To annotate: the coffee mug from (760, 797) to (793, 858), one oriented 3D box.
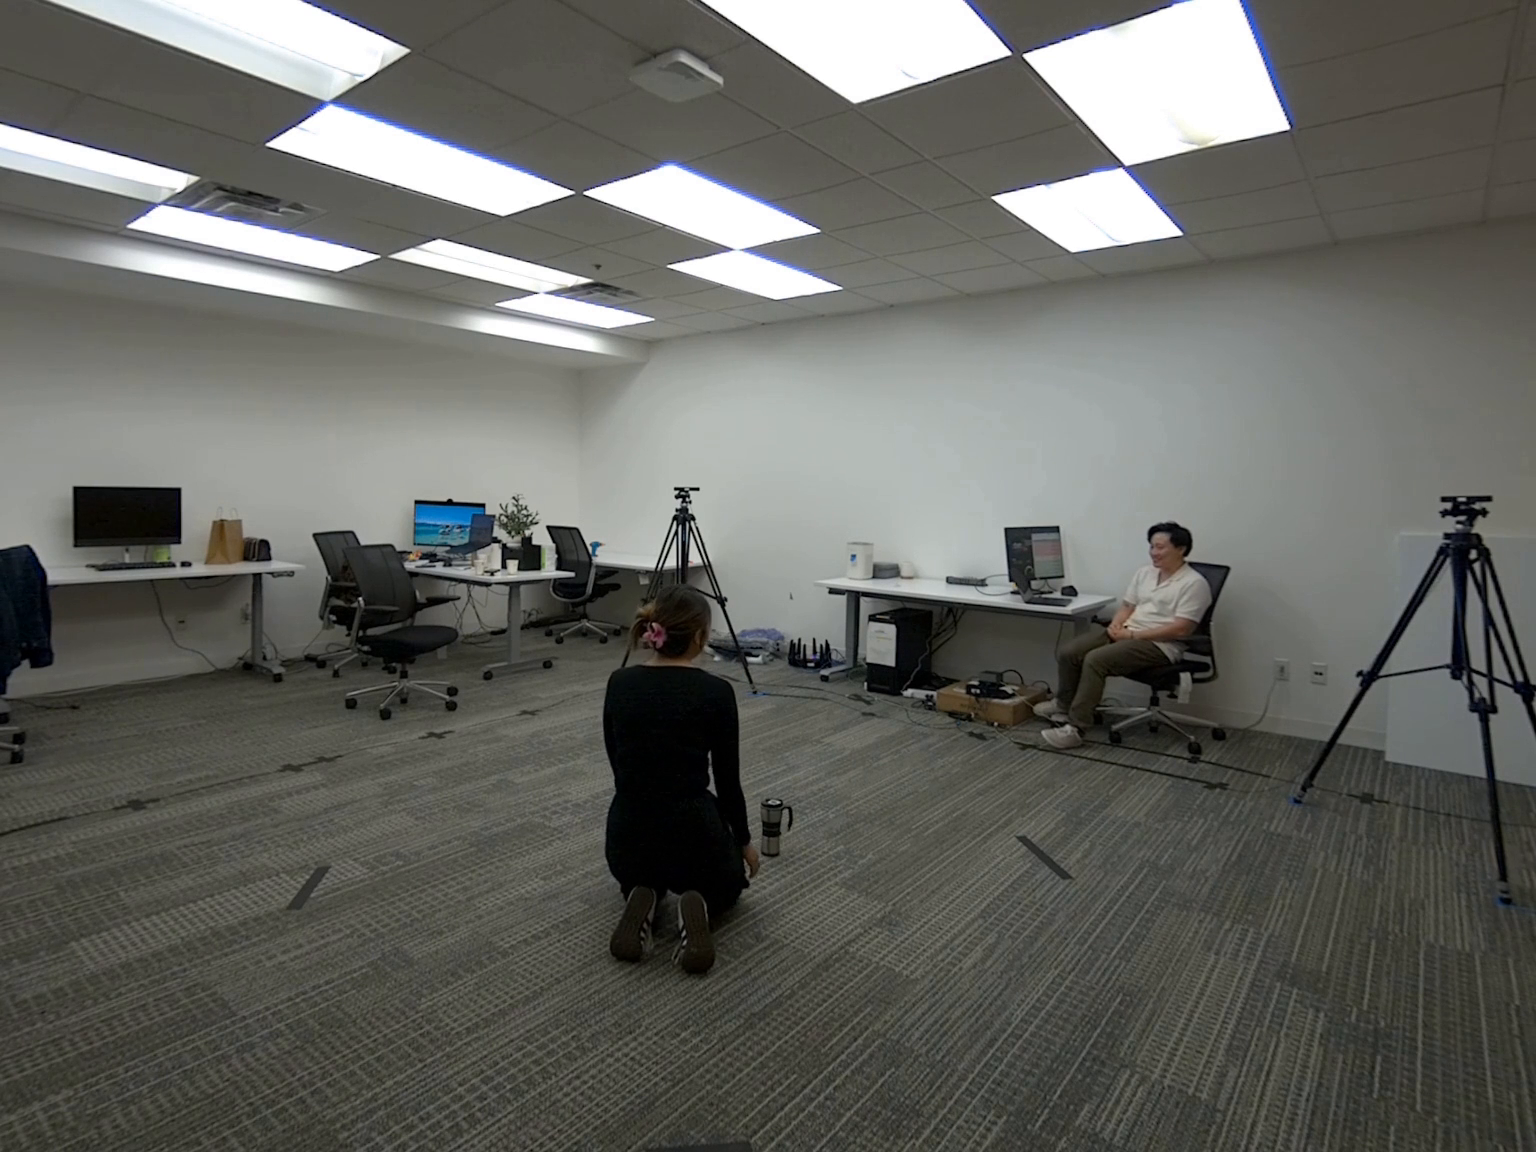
[{"bbox_3d":[0.023,0.959,3.239,0.125,0.203,0.086,-1,-1,25],"label":"coffee mug"}]
